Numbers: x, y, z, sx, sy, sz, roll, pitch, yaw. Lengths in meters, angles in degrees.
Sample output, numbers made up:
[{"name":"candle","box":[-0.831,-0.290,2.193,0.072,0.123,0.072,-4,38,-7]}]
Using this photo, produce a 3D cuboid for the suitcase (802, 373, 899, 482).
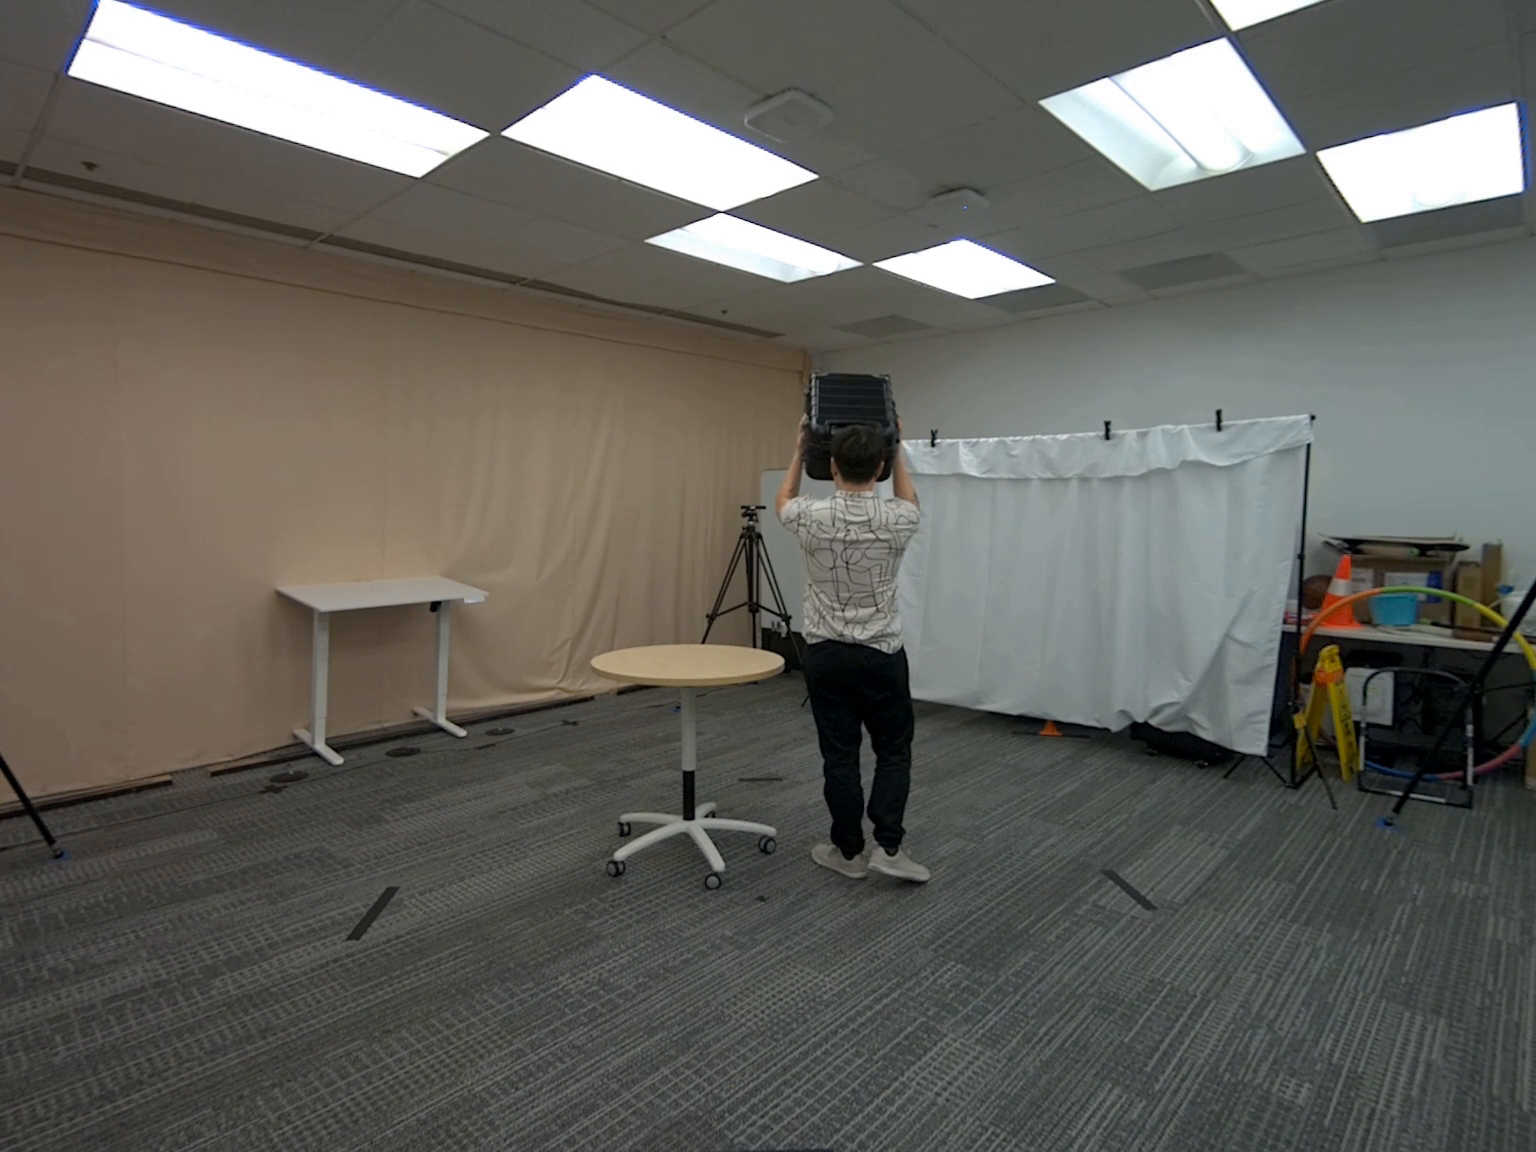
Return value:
[{"name":"suitcase","box":[0.337,-0.607,3.399,0.377,0.244,0.557,2,39,3]}]
